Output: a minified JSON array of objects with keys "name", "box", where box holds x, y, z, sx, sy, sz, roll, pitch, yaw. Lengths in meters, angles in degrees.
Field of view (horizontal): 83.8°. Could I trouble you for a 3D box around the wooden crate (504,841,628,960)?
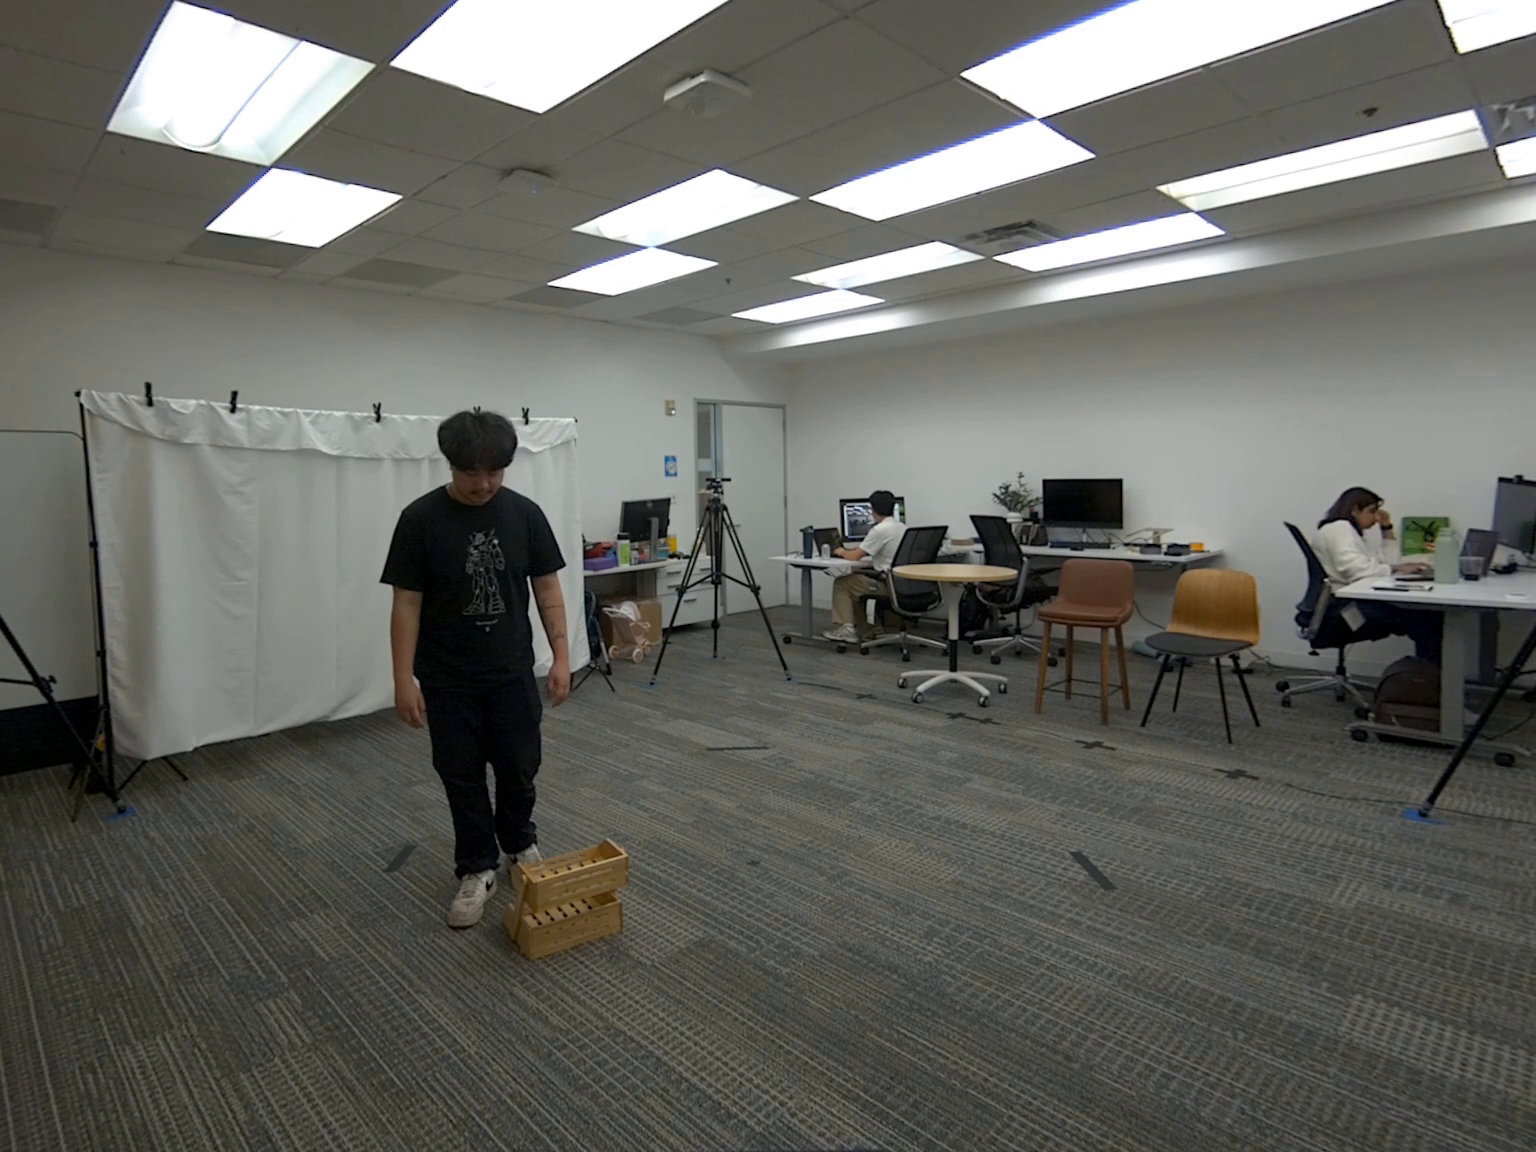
[{"name":"wooden crate","box":[-0.630,0.974,2.651,0.316,0.272,0.311,-5,7,-34]}]
